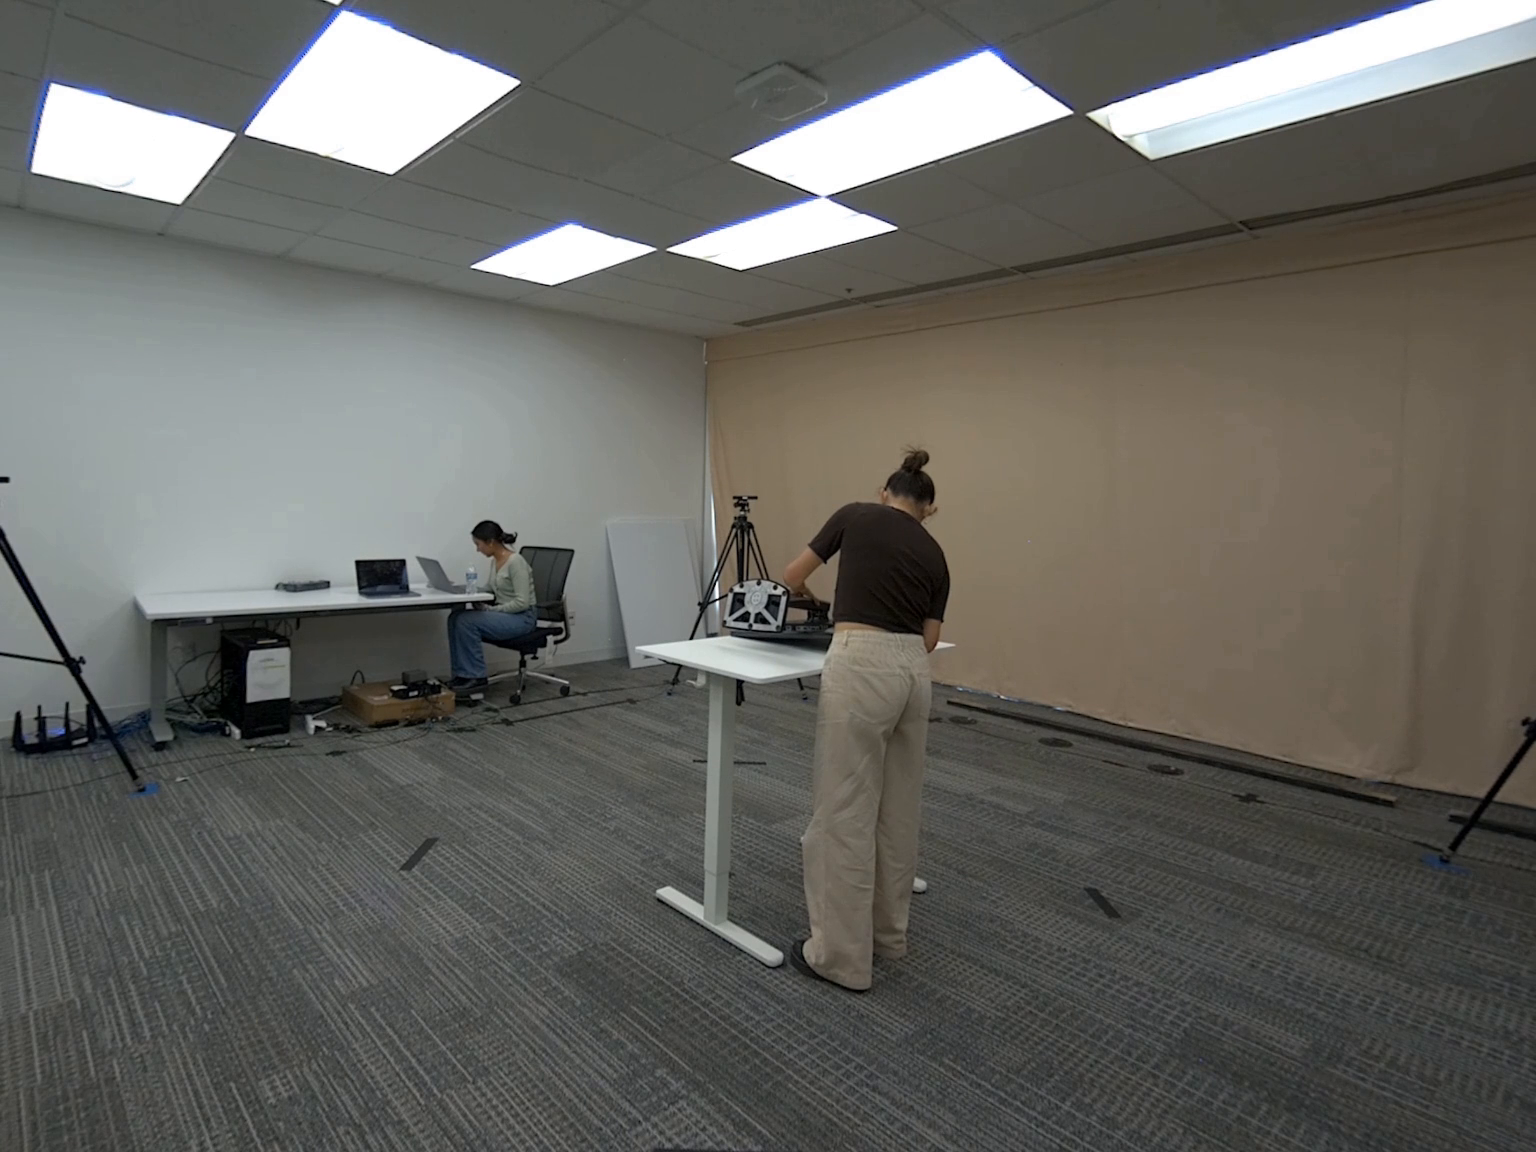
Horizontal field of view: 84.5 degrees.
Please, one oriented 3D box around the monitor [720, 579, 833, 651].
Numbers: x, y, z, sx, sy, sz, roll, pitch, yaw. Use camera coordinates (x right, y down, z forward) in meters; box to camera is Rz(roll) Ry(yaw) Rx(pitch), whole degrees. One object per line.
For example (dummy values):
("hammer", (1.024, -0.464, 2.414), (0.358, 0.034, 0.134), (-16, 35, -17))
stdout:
("monitor", (0.113, 0.154, 2.974), (0.552, 0.188, 0.507), (2, -12, 43))
